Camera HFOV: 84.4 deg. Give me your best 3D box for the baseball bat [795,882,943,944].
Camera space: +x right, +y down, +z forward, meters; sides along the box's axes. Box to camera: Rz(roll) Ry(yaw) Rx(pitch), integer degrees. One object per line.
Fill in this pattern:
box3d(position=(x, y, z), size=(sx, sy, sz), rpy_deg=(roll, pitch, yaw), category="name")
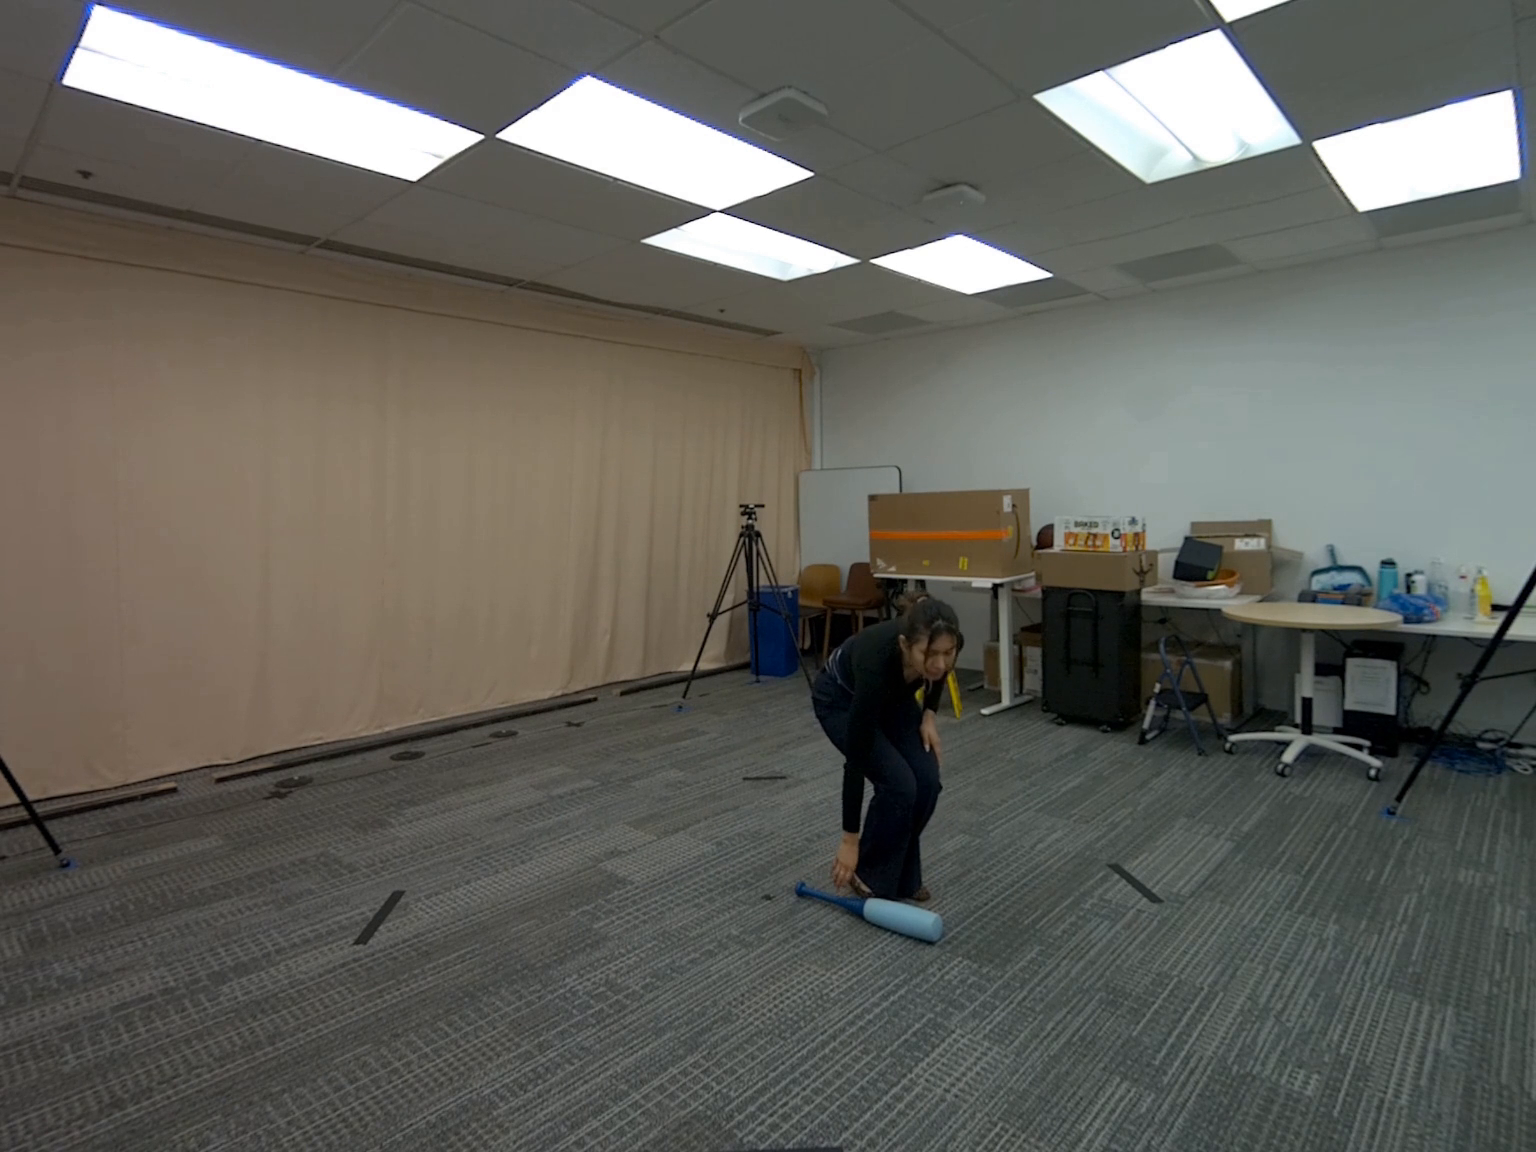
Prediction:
box3d(position=(0.328, 1.115, 2.814), size=(0.560, 0.089, 0.086), rpy_deg=(-2, 2, 40), category="baseball bat")
